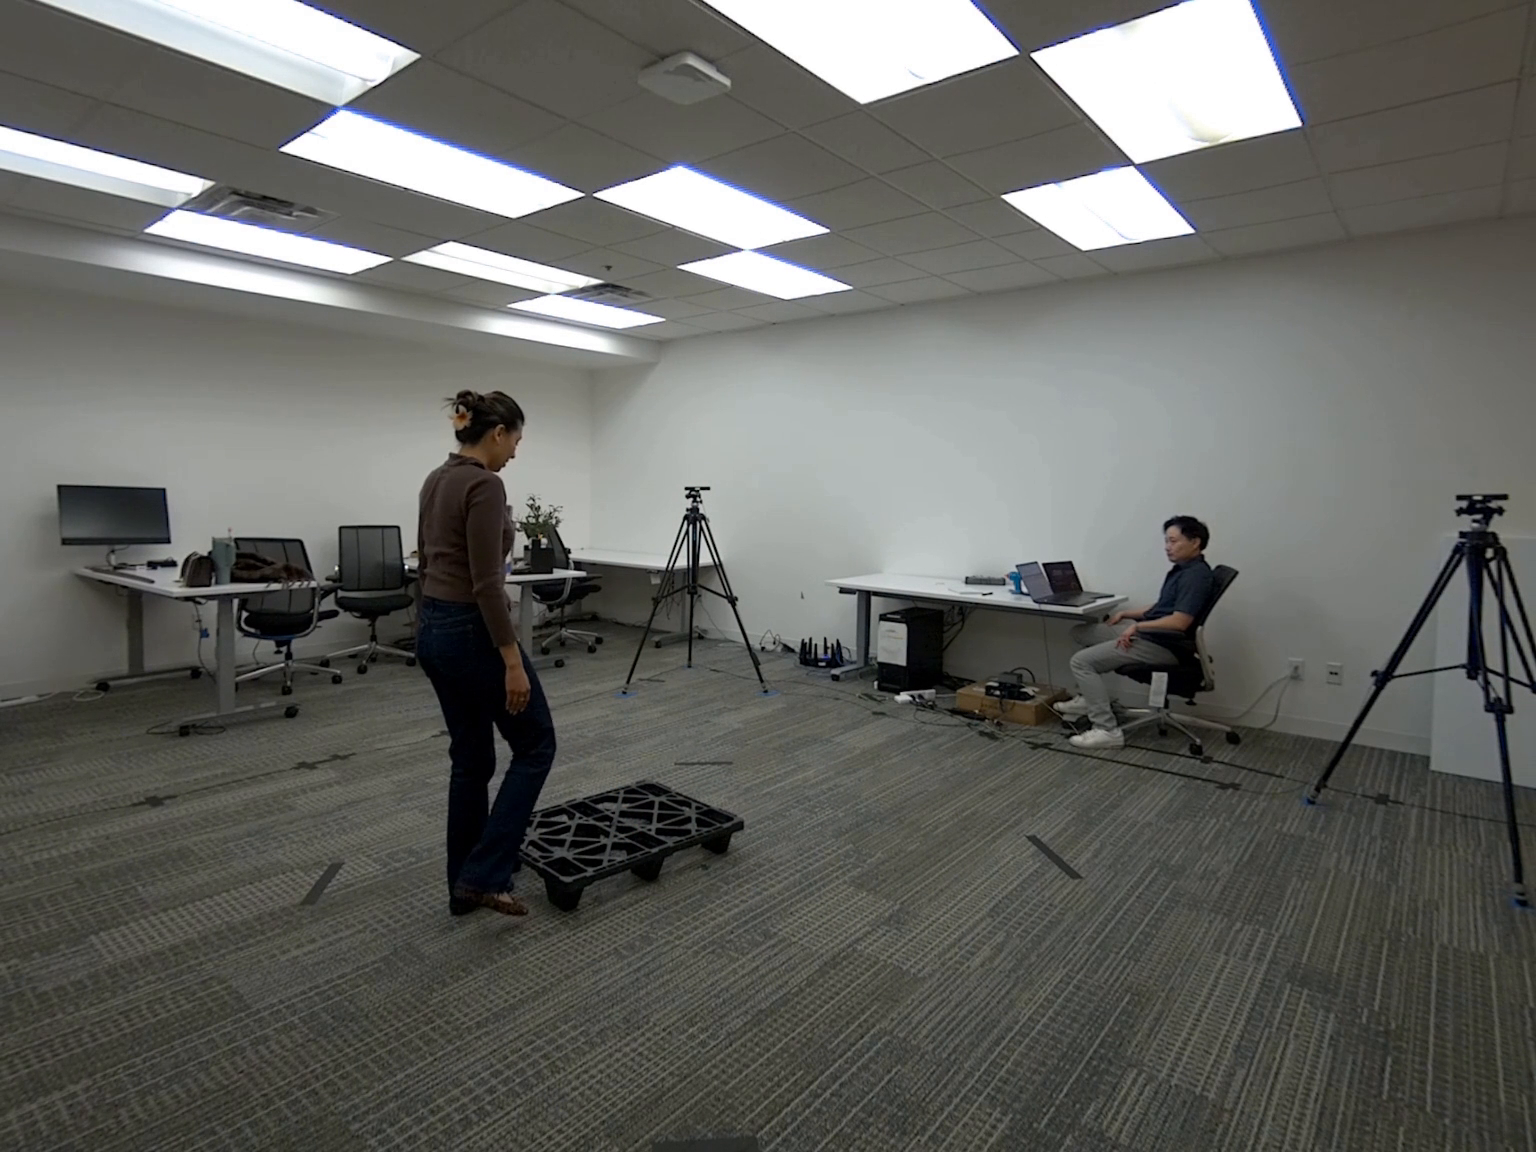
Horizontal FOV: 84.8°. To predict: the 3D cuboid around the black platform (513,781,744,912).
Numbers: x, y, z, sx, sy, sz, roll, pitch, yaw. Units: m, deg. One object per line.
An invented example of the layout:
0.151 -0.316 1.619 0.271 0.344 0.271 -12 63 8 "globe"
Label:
-0.578 0.988 3.183 0.782 0.143 0.626 -5 9 -44 "black platform"
